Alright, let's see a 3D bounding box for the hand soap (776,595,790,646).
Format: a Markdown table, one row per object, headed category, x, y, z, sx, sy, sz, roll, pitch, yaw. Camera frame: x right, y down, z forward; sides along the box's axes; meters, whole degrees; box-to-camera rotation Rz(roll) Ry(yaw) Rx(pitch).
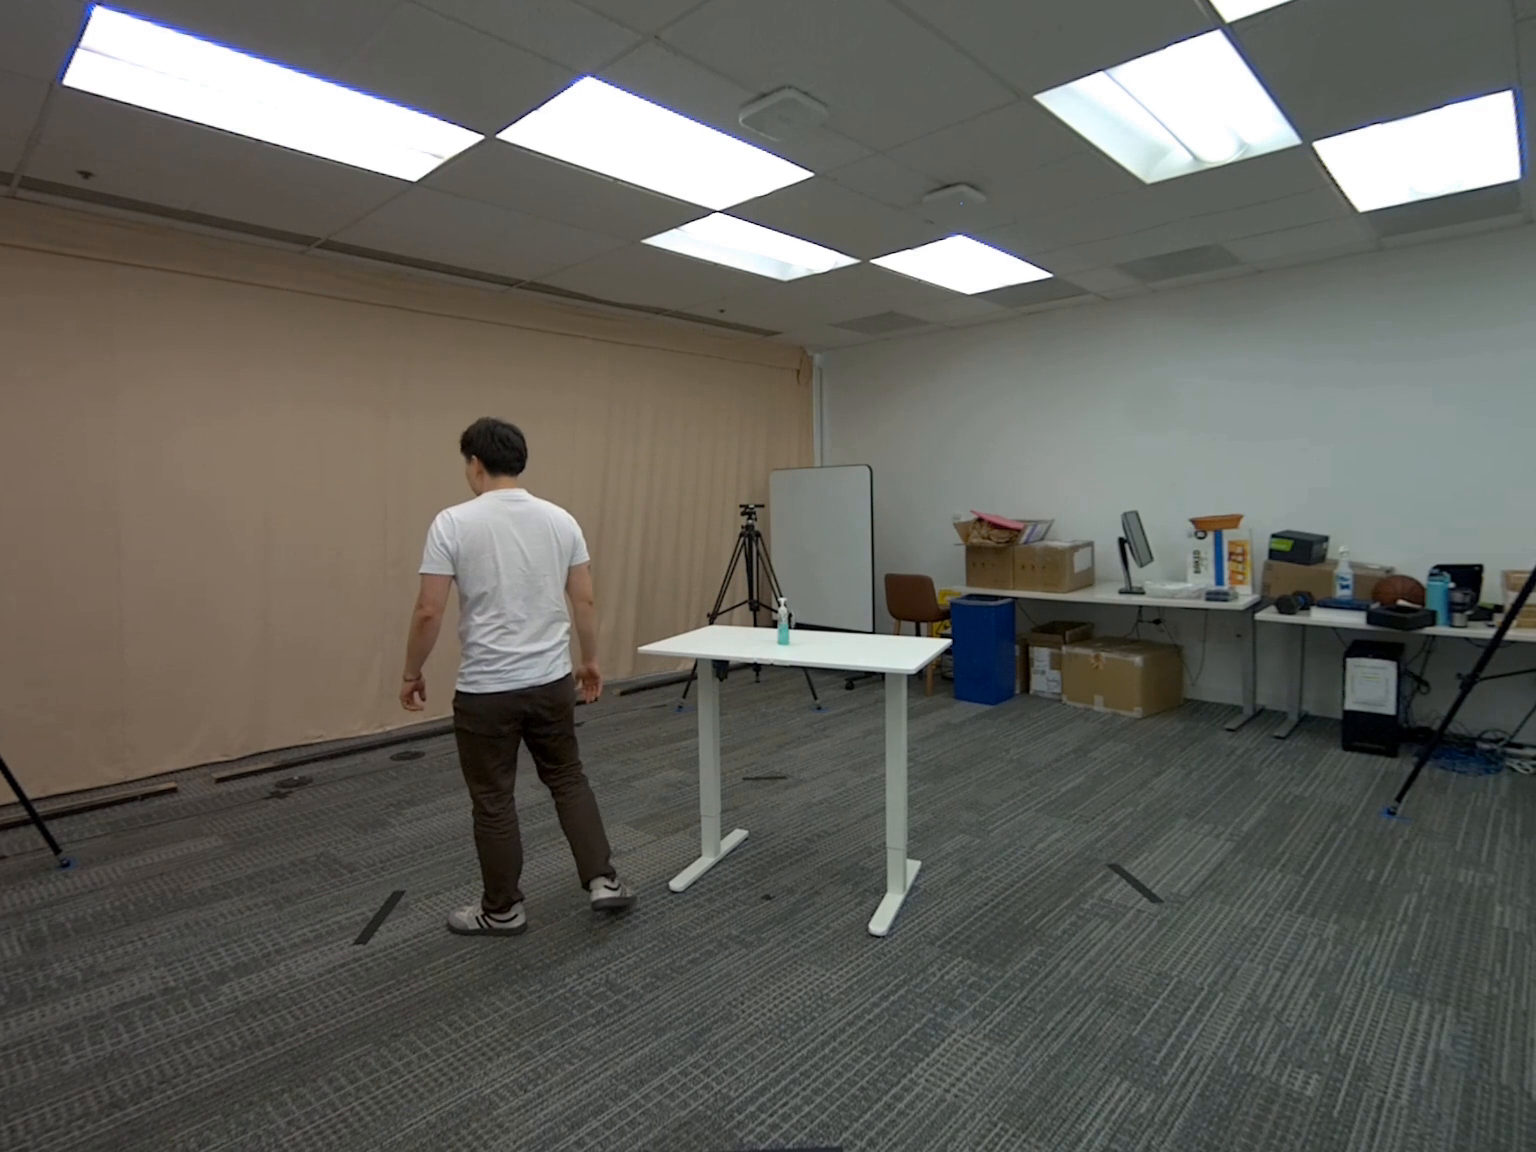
| category | x | y | z | sx | sy | sz | roll | pitch | yaw |
| --- | --- | --- | --- | --- | --- | --- | --- | --- | --- |
| hand soap | 0.062 | 0.167 | 3.083 | 0.043 | 0.168 | 0.085 | 2 | 0 | -9 |
